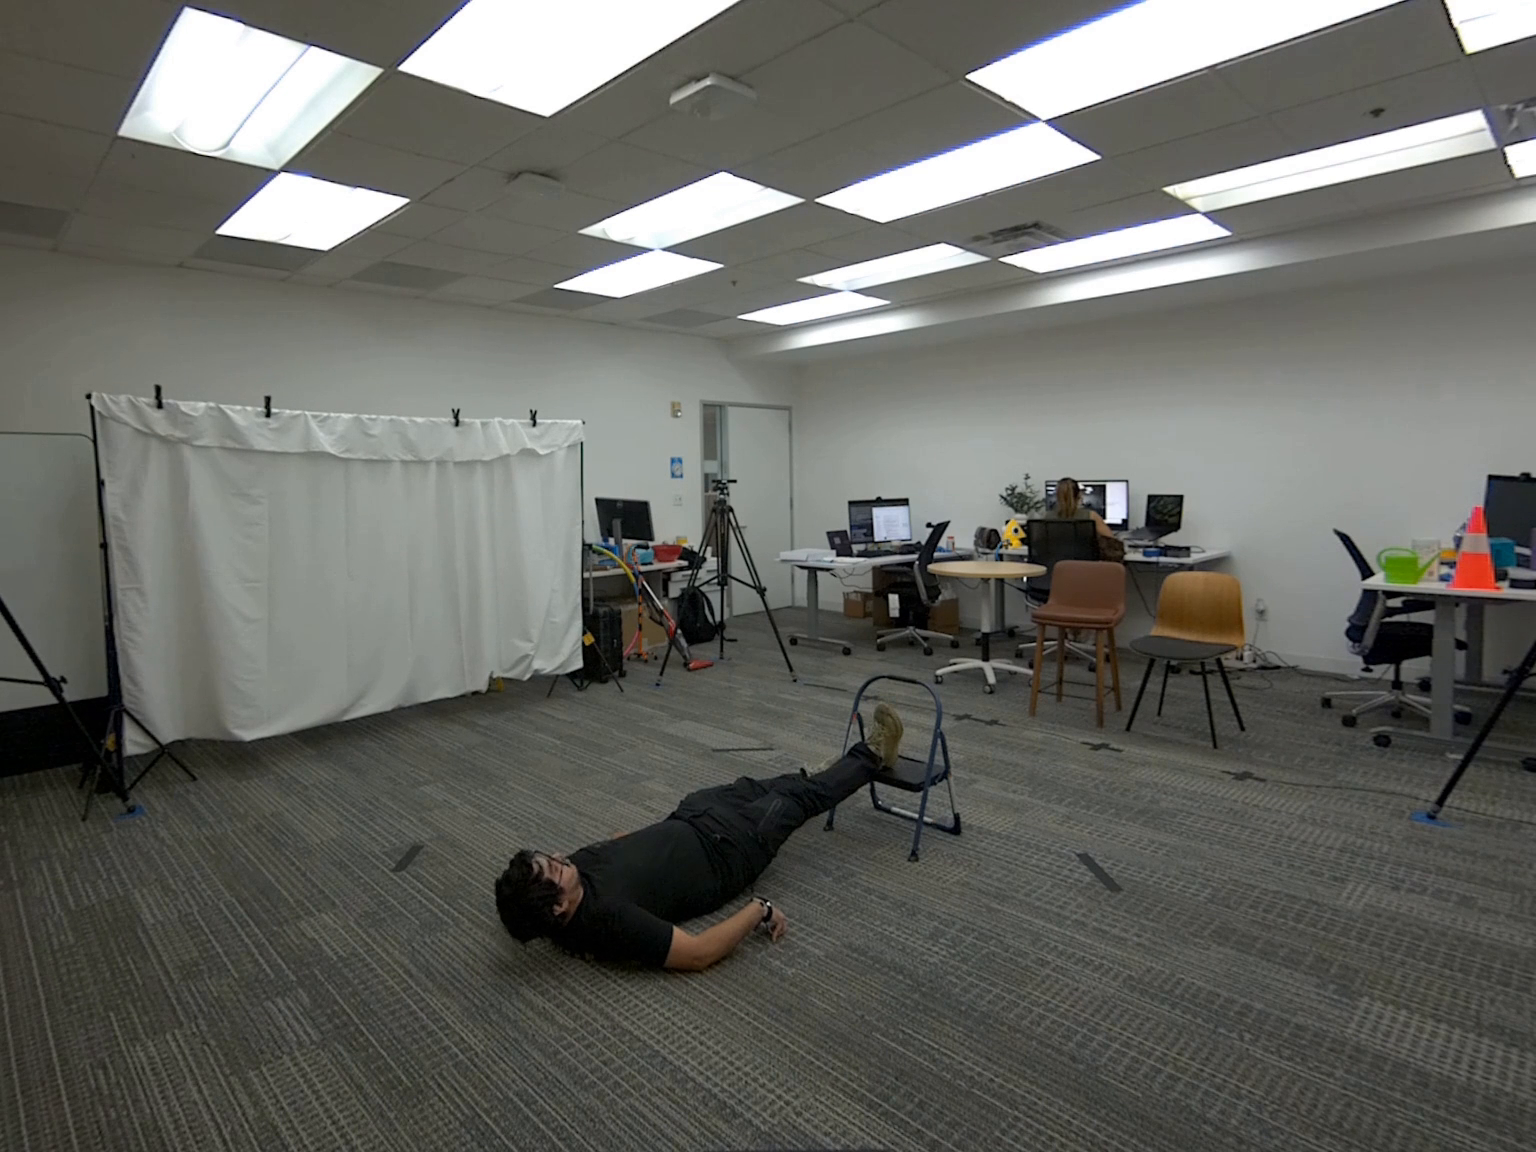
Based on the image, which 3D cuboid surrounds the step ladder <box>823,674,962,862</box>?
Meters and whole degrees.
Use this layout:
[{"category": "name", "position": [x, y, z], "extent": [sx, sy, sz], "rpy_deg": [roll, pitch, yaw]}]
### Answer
[{"category": "step ladder", "position": [0.493, 0.708, 3.353], "extent": [0.444, 0.604, 0.340], "rpy_deg": [4, 6, 44]}]
